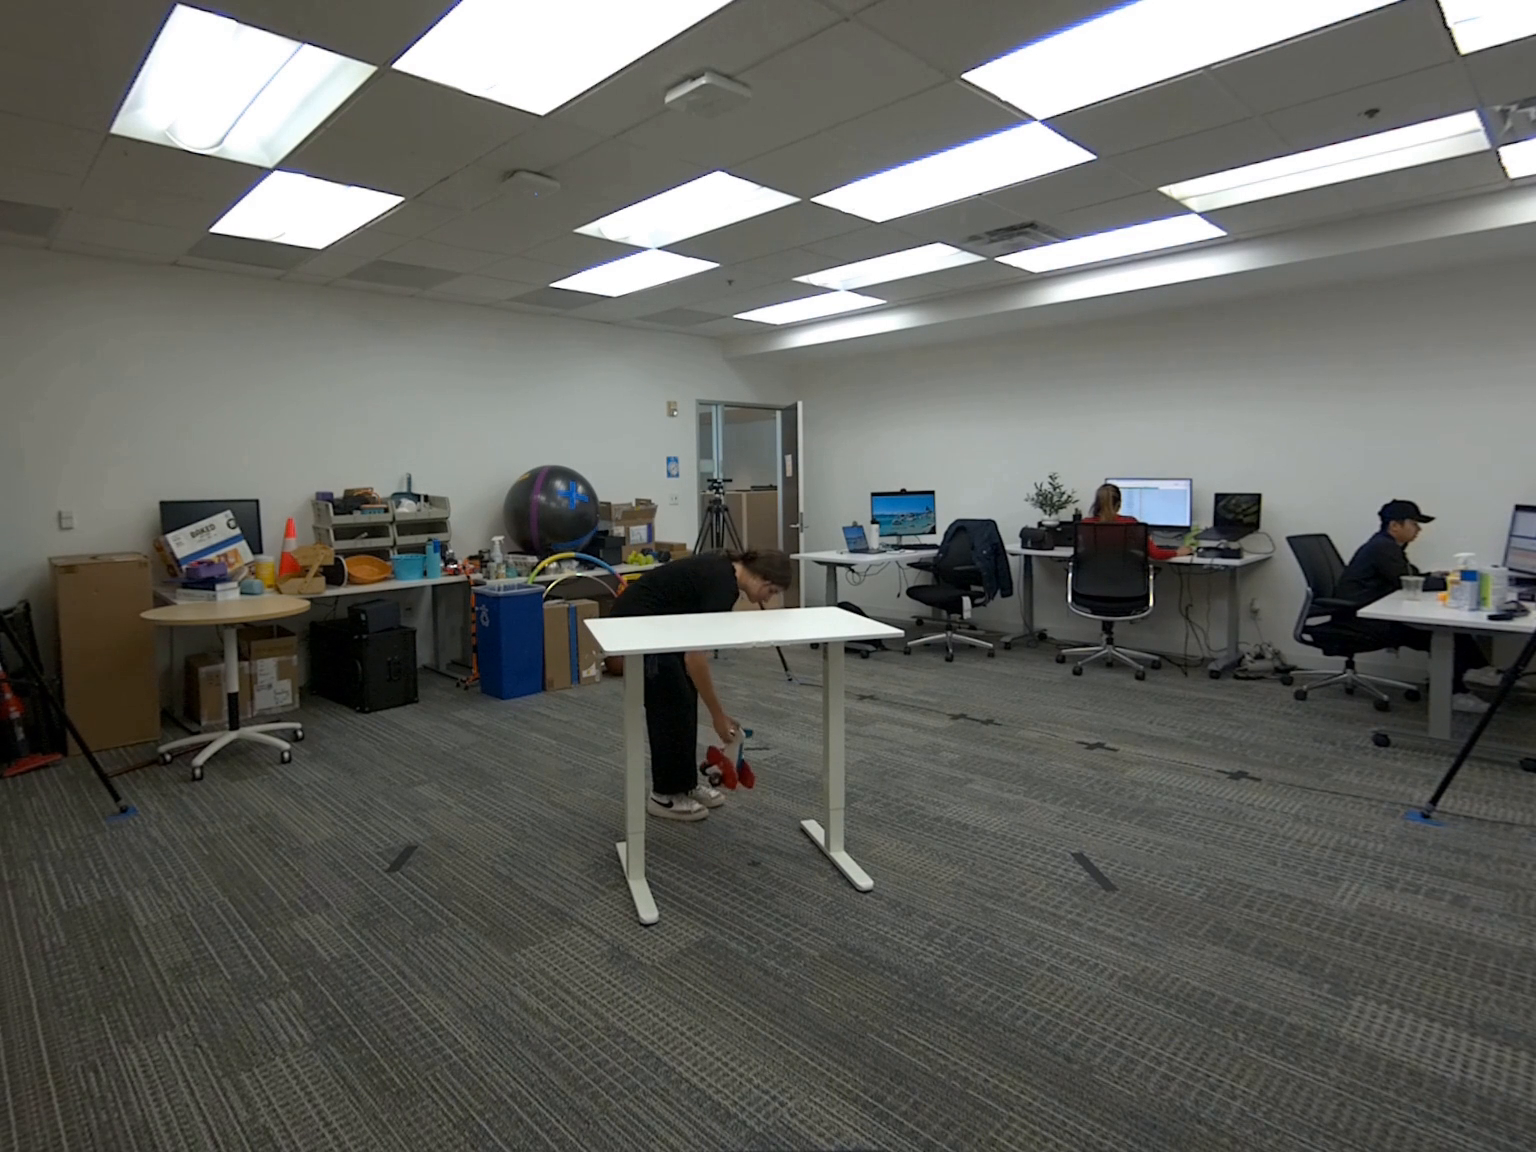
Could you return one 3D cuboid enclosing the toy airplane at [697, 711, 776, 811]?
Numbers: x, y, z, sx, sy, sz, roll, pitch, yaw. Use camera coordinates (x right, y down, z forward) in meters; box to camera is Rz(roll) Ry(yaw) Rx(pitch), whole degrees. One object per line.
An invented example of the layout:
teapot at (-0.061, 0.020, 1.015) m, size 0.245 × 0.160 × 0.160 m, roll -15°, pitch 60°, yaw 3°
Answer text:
toy airplane at (-0.137, 0.727, 3.372) m, size 0.151 × 0.259 × 0.260 m, roll 24°, pitch 31°, yaw -31°
